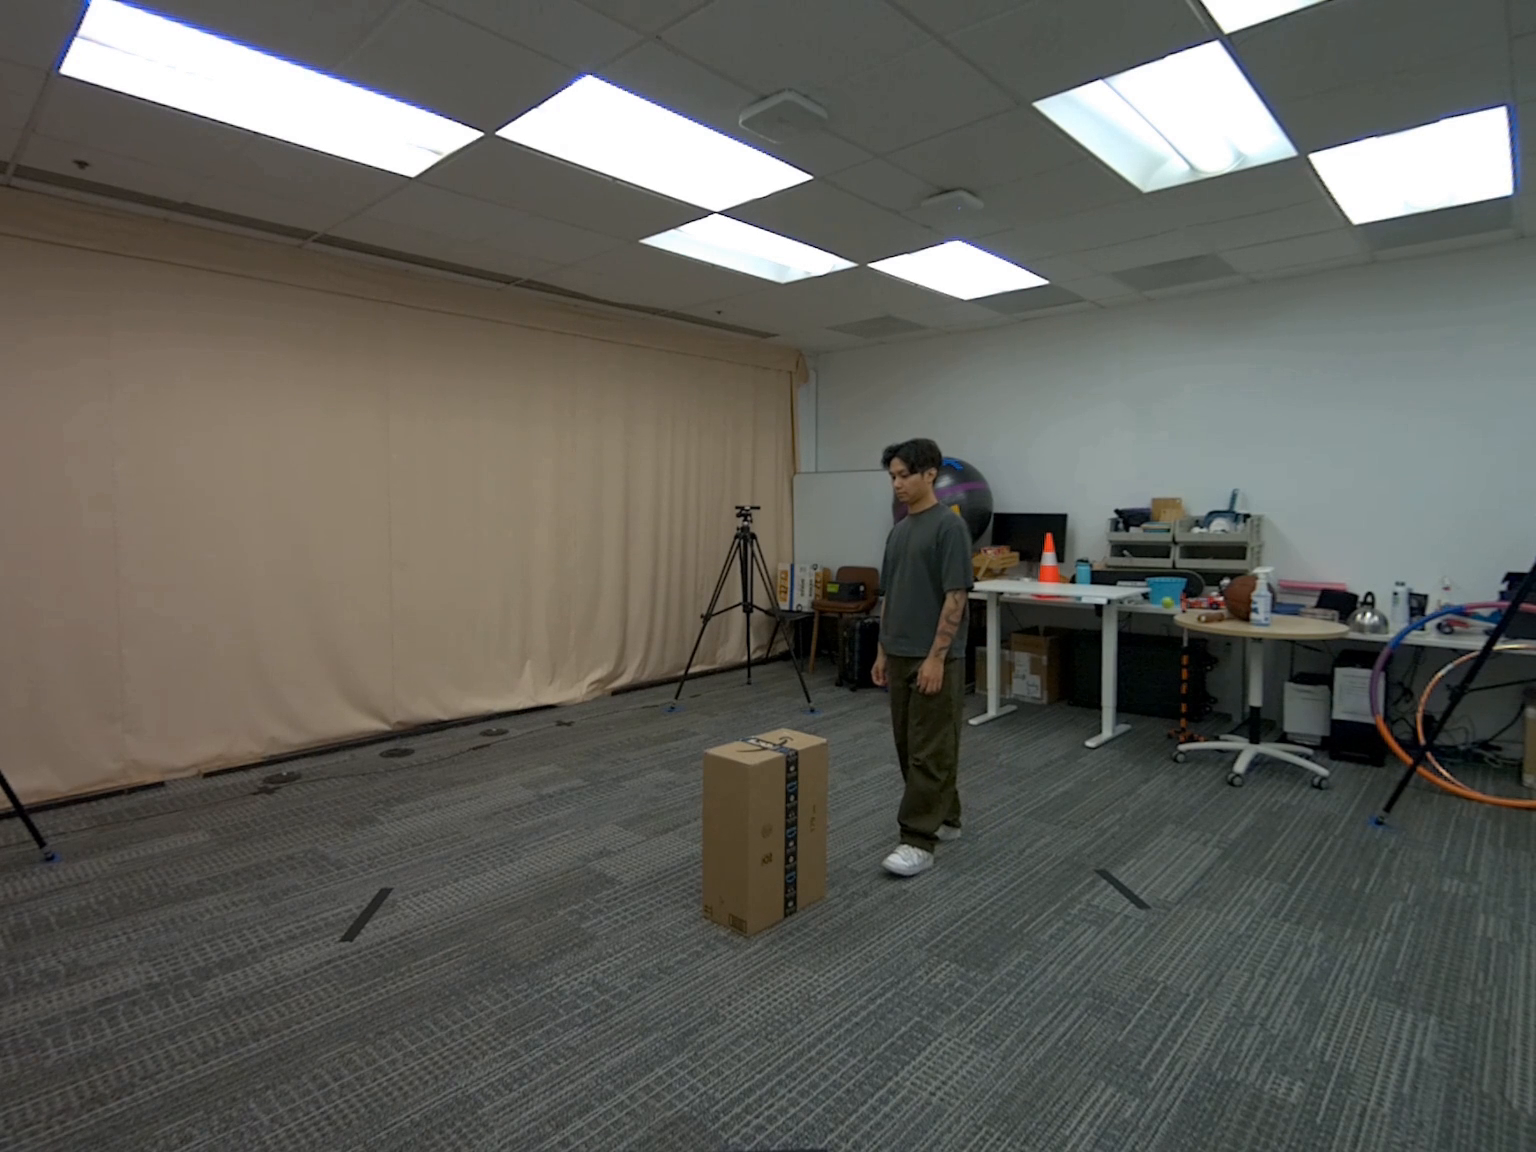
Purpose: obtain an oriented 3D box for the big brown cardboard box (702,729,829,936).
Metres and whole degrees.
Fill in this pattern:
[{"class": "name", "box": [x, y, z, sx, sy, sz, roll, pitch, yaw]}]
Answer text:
[{"class": "big brown cardboard box", "box": [-0.005, 0.862, 2.919, 0.241, 0.588, 0.404, 2, 2, 43]}]
